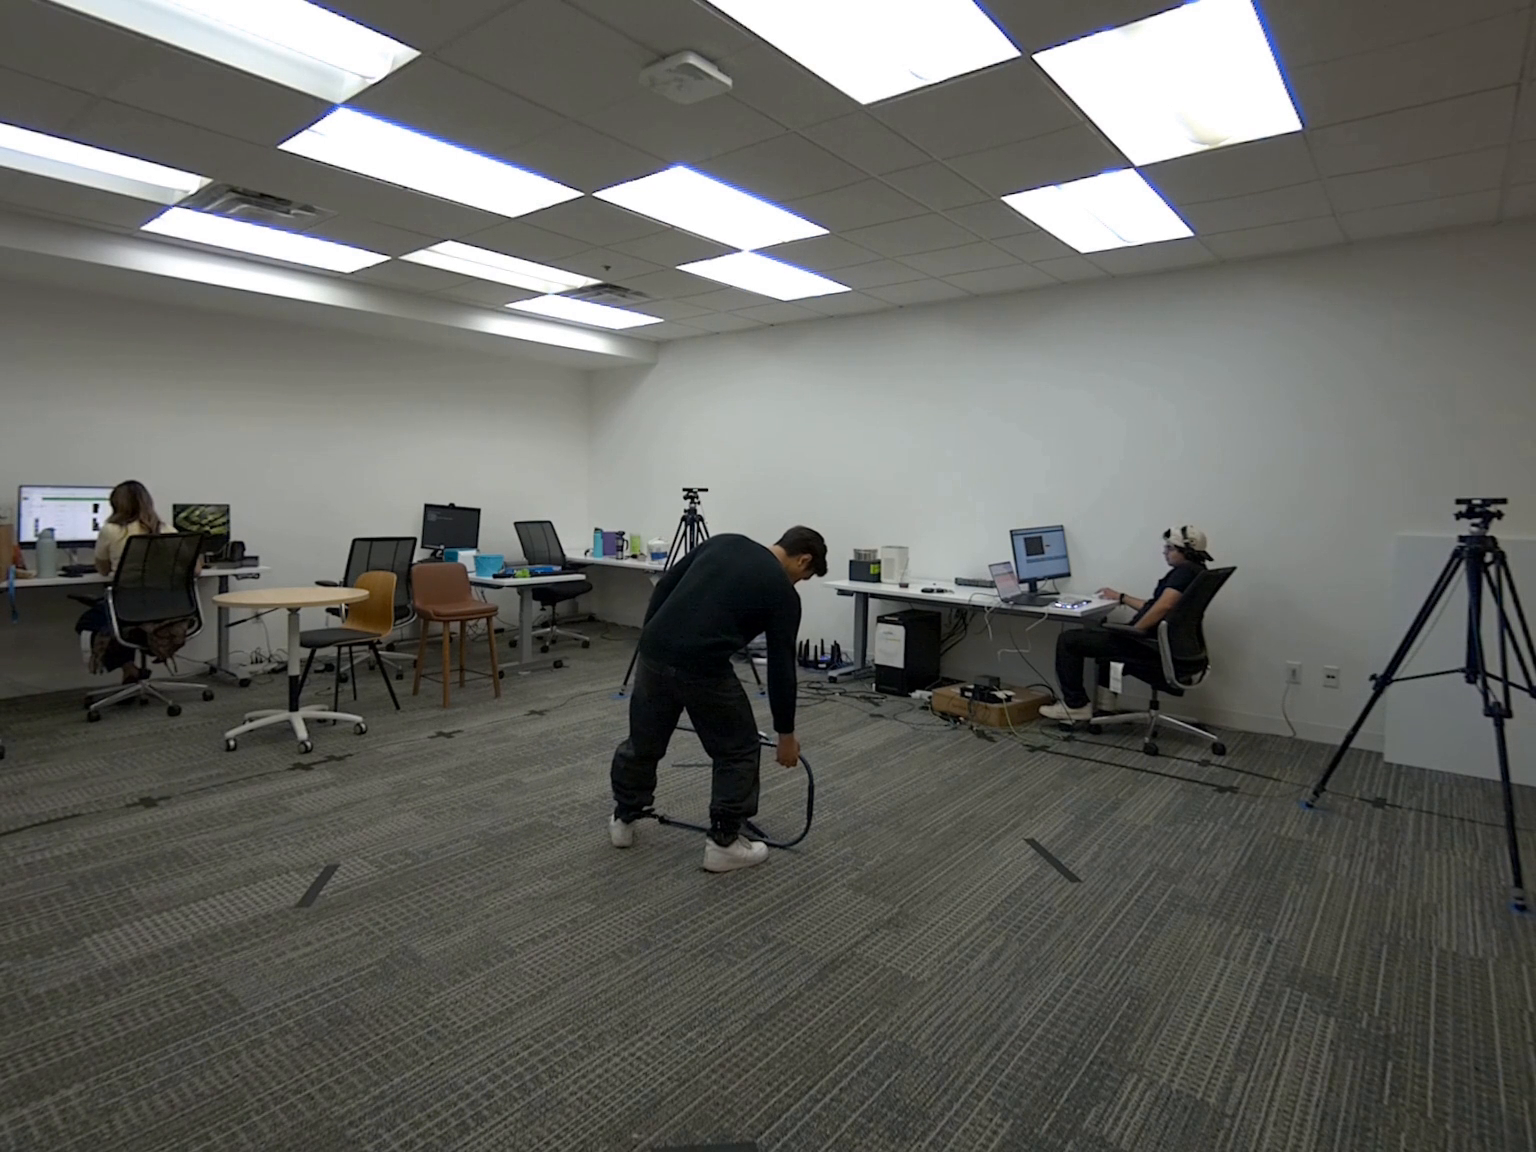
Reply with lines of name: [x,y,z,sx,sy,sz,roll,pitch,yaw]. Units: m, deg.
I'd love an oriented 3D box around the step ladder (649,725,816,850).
step ladder: [-0.113,0.832,3.422,0.627,0.429,0.339,8,7,44]
